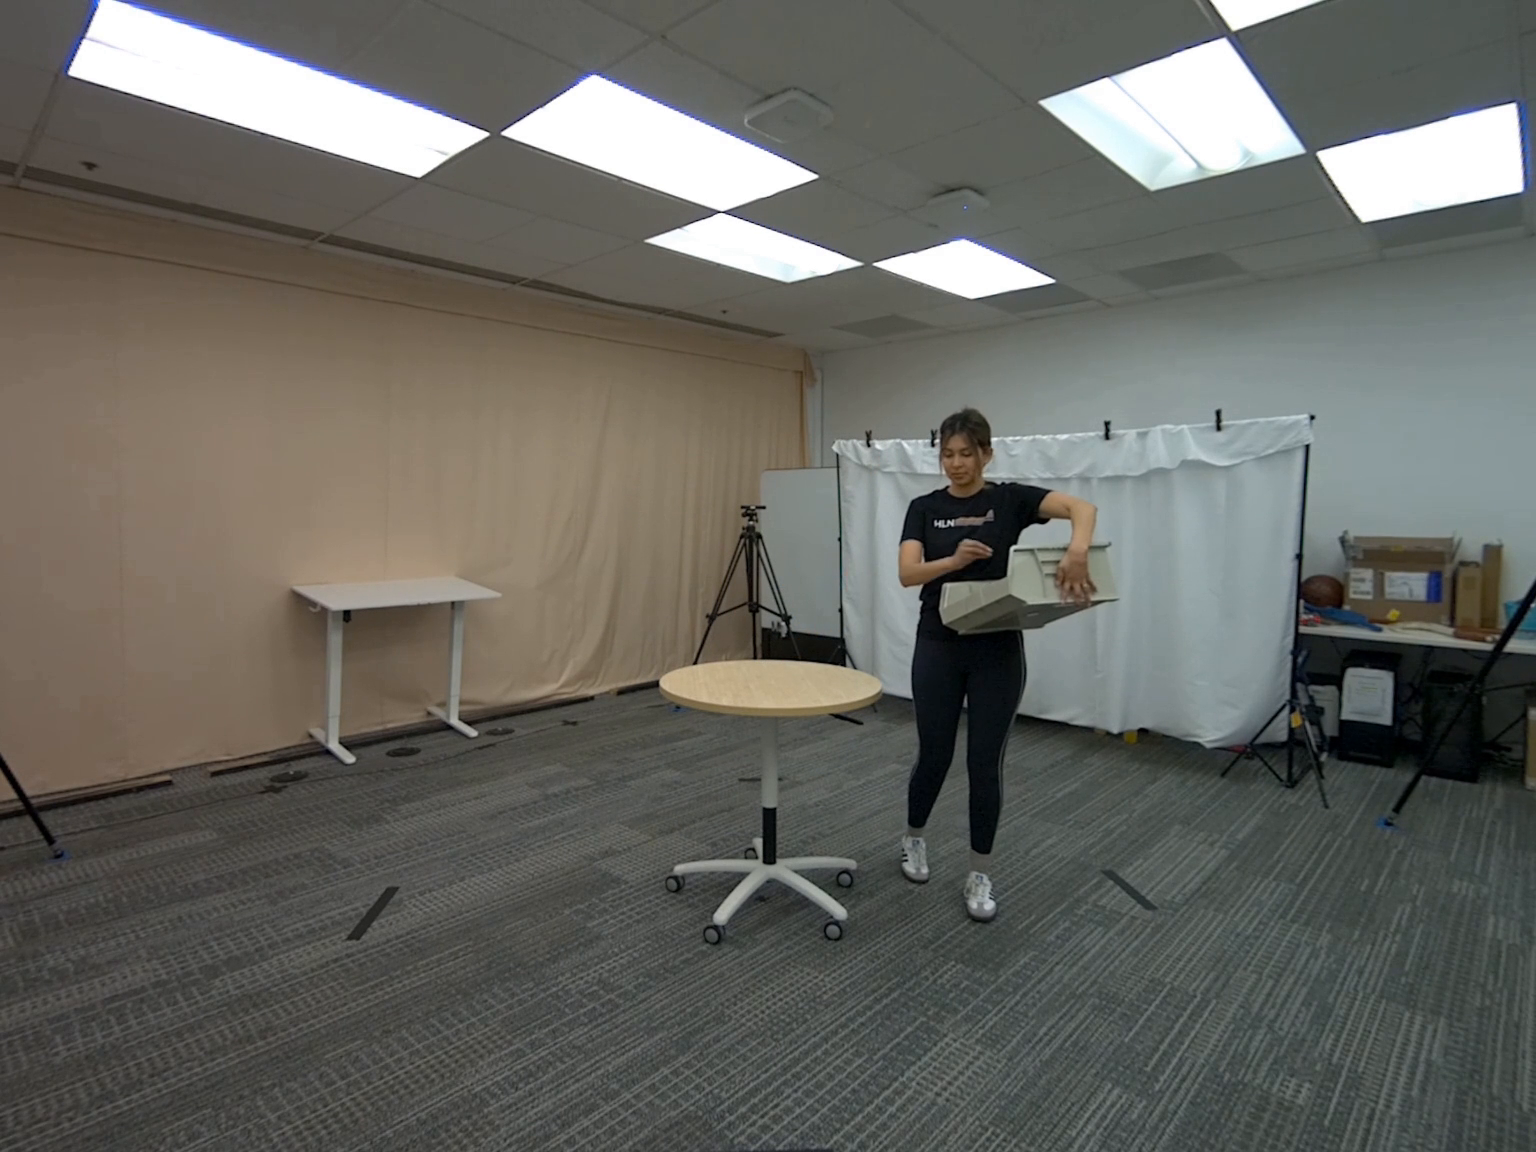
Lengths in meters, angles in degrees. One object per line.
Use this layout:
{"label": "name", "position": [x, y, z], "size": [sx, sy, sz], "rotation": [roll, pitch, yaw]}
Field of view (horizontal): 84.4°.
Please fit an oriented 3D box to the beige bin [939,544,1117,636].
{"label": "beige bin", "position": [0.810, 0.047, 2.684], "size": [0.372, 0.191, 0.424], "rotation": [-1, -16, -15]}
